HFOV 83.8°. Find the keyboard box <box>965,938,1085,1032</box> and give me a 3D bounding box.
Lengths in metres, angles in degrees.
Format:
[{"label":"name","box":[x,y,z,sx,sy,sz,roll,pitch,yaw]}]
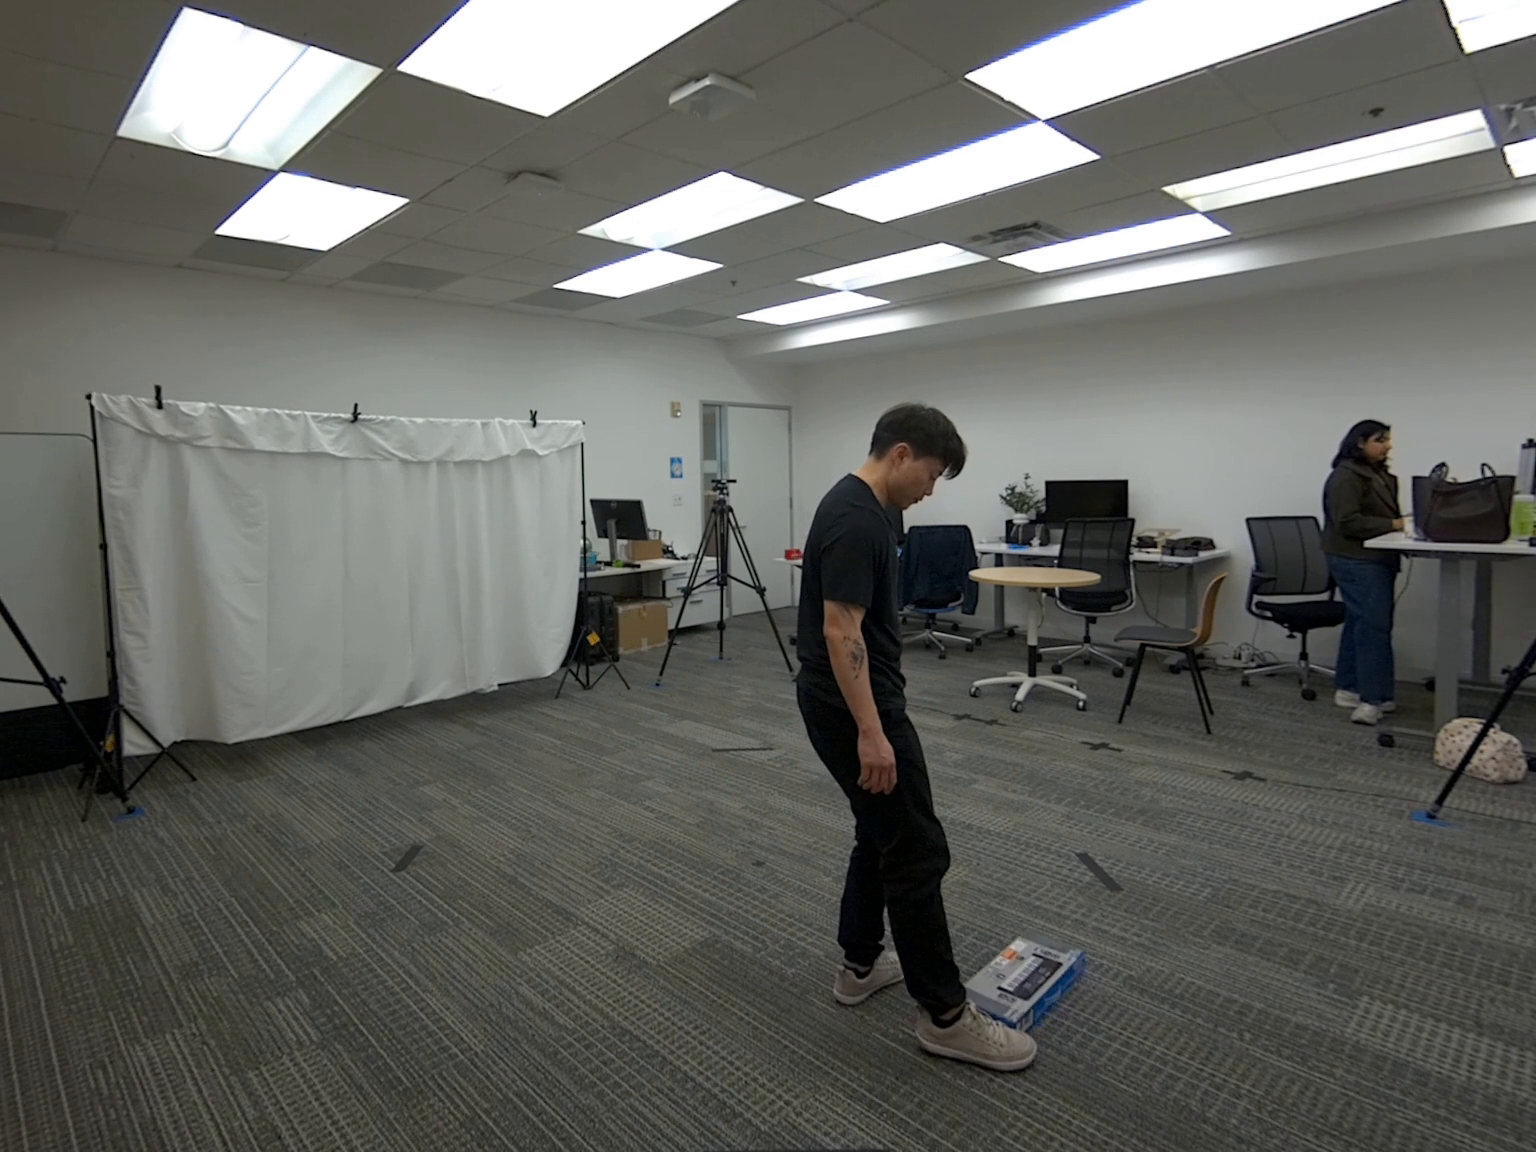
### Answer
[{"label":"keyboard box","box":[0.685,1.097,2.301,0.181,0.059,0.426,4,9,43]}]
